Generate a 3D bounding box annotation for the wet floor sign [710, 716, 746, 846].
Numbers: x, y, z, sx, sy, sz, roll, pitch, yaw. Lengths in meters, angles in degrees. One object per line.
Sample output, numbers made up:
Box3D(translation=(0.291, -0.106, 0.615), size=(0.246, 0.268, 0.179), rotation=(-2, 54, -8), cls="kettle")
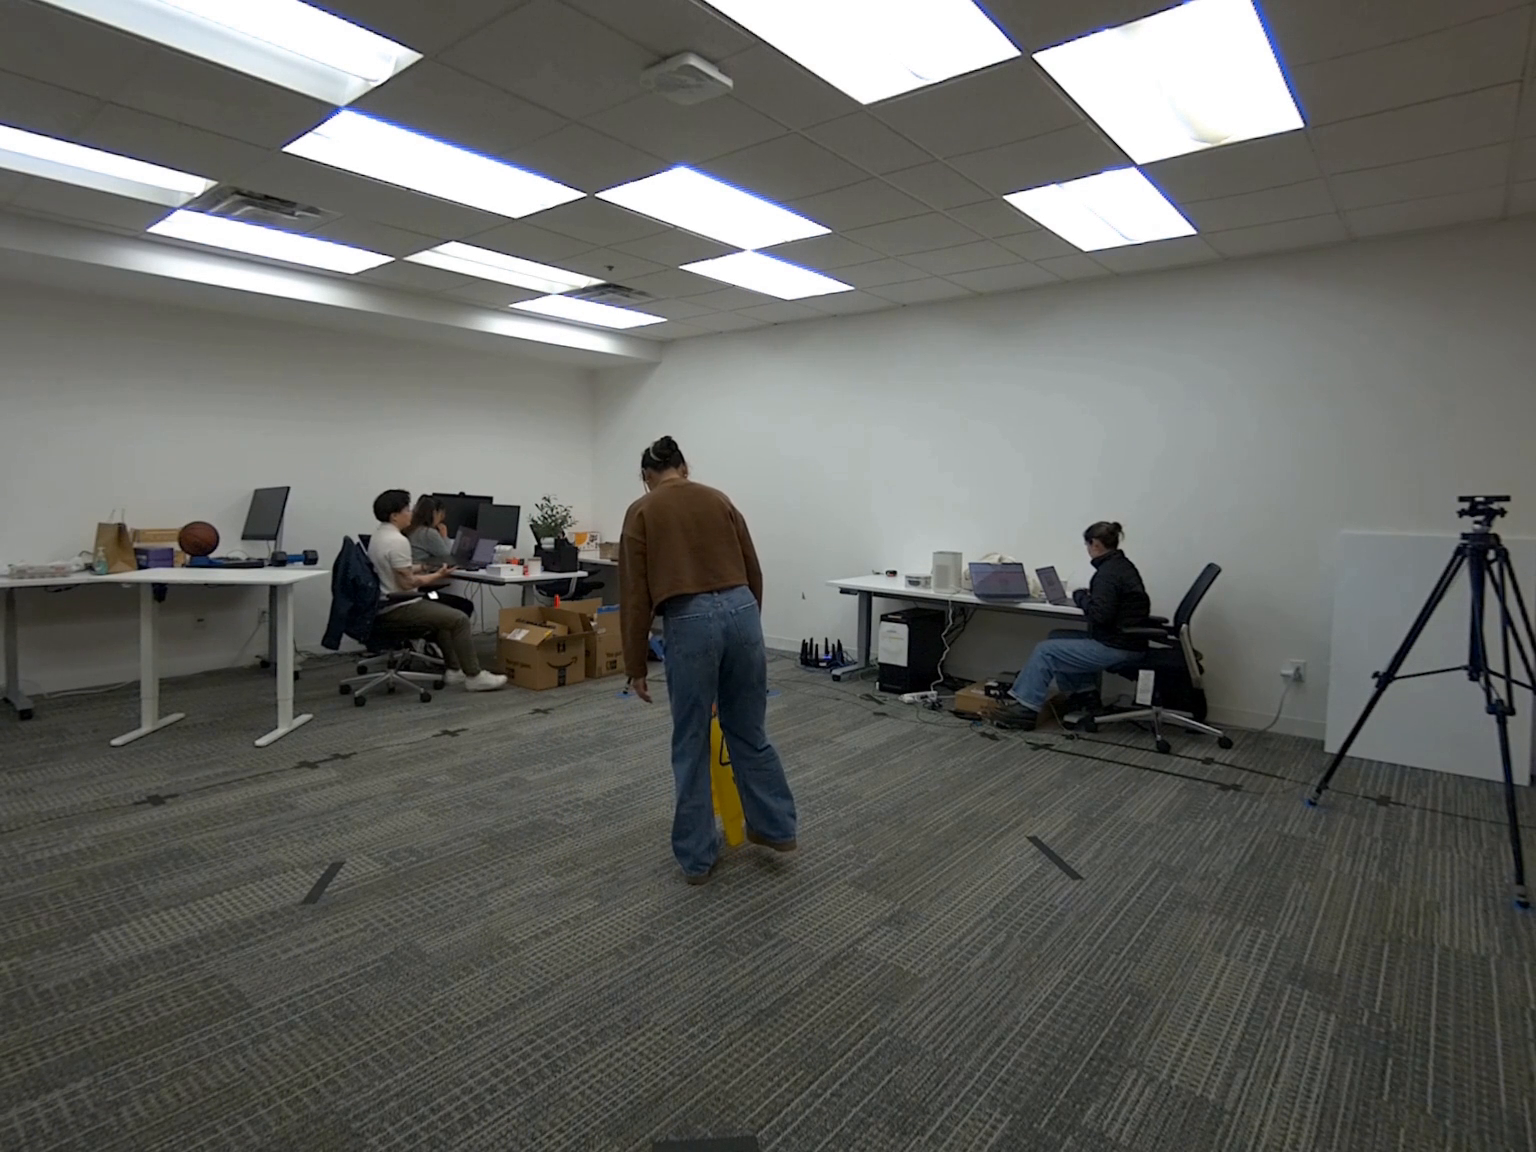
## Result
Box3D(translation=(-0.195, 0.692, 3.371), size=(0.273, 0.652, 0.296), rotation=(-2, -11, -45), cls="wet floor sign")
